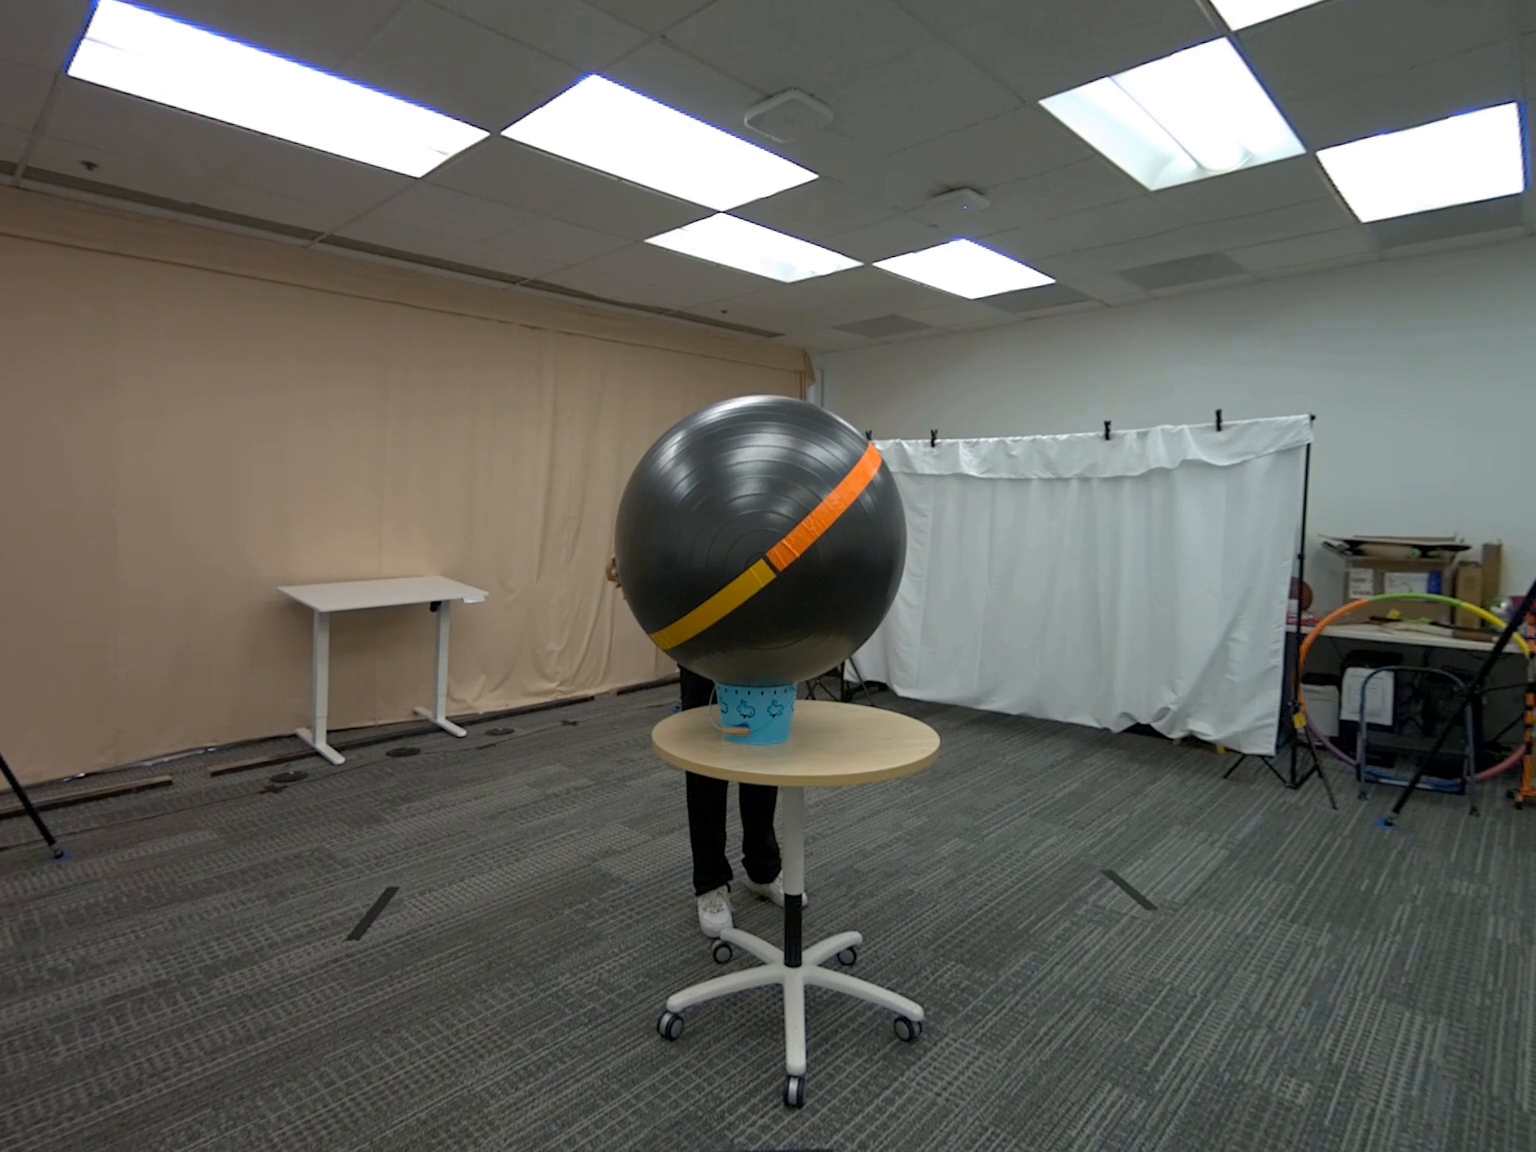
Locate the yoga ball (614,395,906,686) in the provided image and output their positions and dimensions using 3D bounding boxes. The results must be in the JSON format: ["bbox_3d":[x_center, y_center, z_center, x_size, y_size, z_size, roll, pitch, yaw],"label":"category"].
[{"bbox_3d":[-0.020,-0.085,2.205,0.757,0.756,0.760,0,4,-2],"label":"yoga ball"}]
